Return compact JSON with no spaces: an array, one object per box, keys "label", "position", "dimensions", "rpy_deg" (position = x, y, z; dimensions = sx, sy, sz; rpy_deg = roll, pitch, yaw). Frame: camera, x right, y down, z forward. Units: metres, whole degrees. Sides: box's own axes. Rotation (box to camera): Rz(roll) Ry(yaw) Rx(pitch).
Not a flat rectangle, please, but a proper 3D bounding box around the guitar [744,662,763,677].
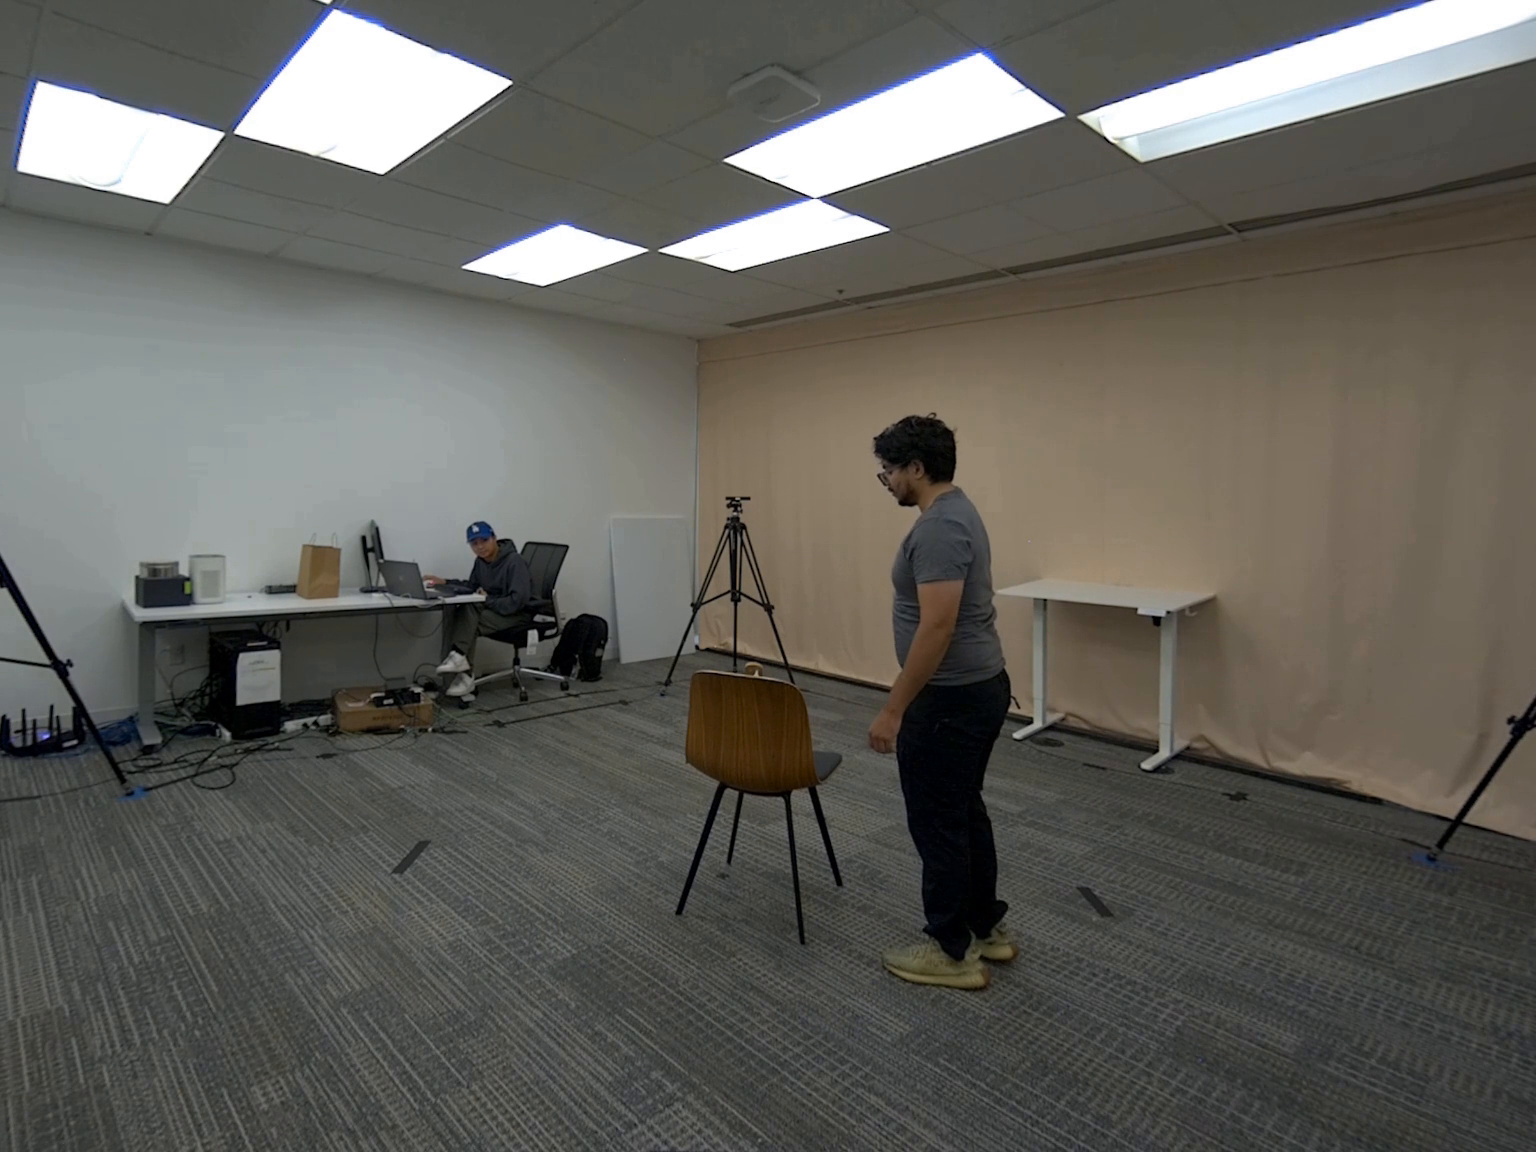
[{"label":"guitar","position":[-0.066,0.459,2.783],"dimensions":[0.195,0.484,0.072],"rpy_deg":[2,45,14]}]
